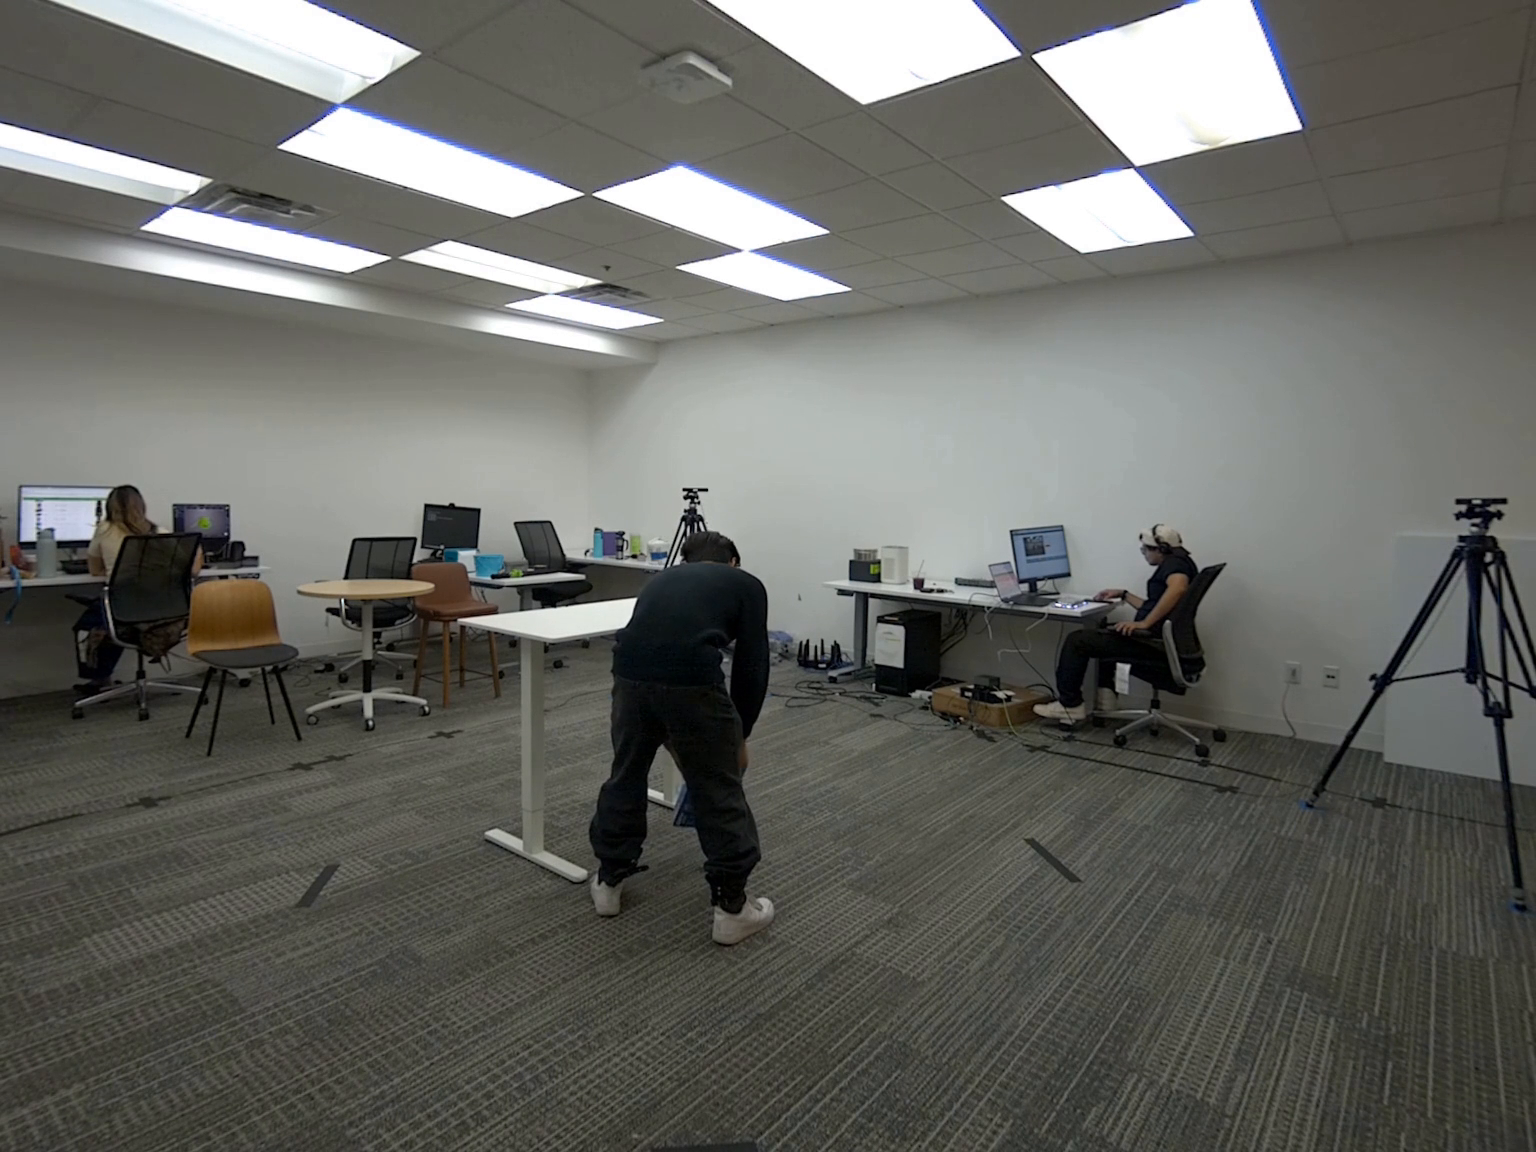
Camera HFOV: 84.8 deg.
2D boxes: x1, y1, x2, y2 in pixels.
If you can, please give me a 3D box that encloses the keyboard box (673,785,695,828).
[{"bbox_3d":[-0.223,0.747,2.999,0.174,0.428,0.061,6,42,-11],"label":"keyboard box"}]
